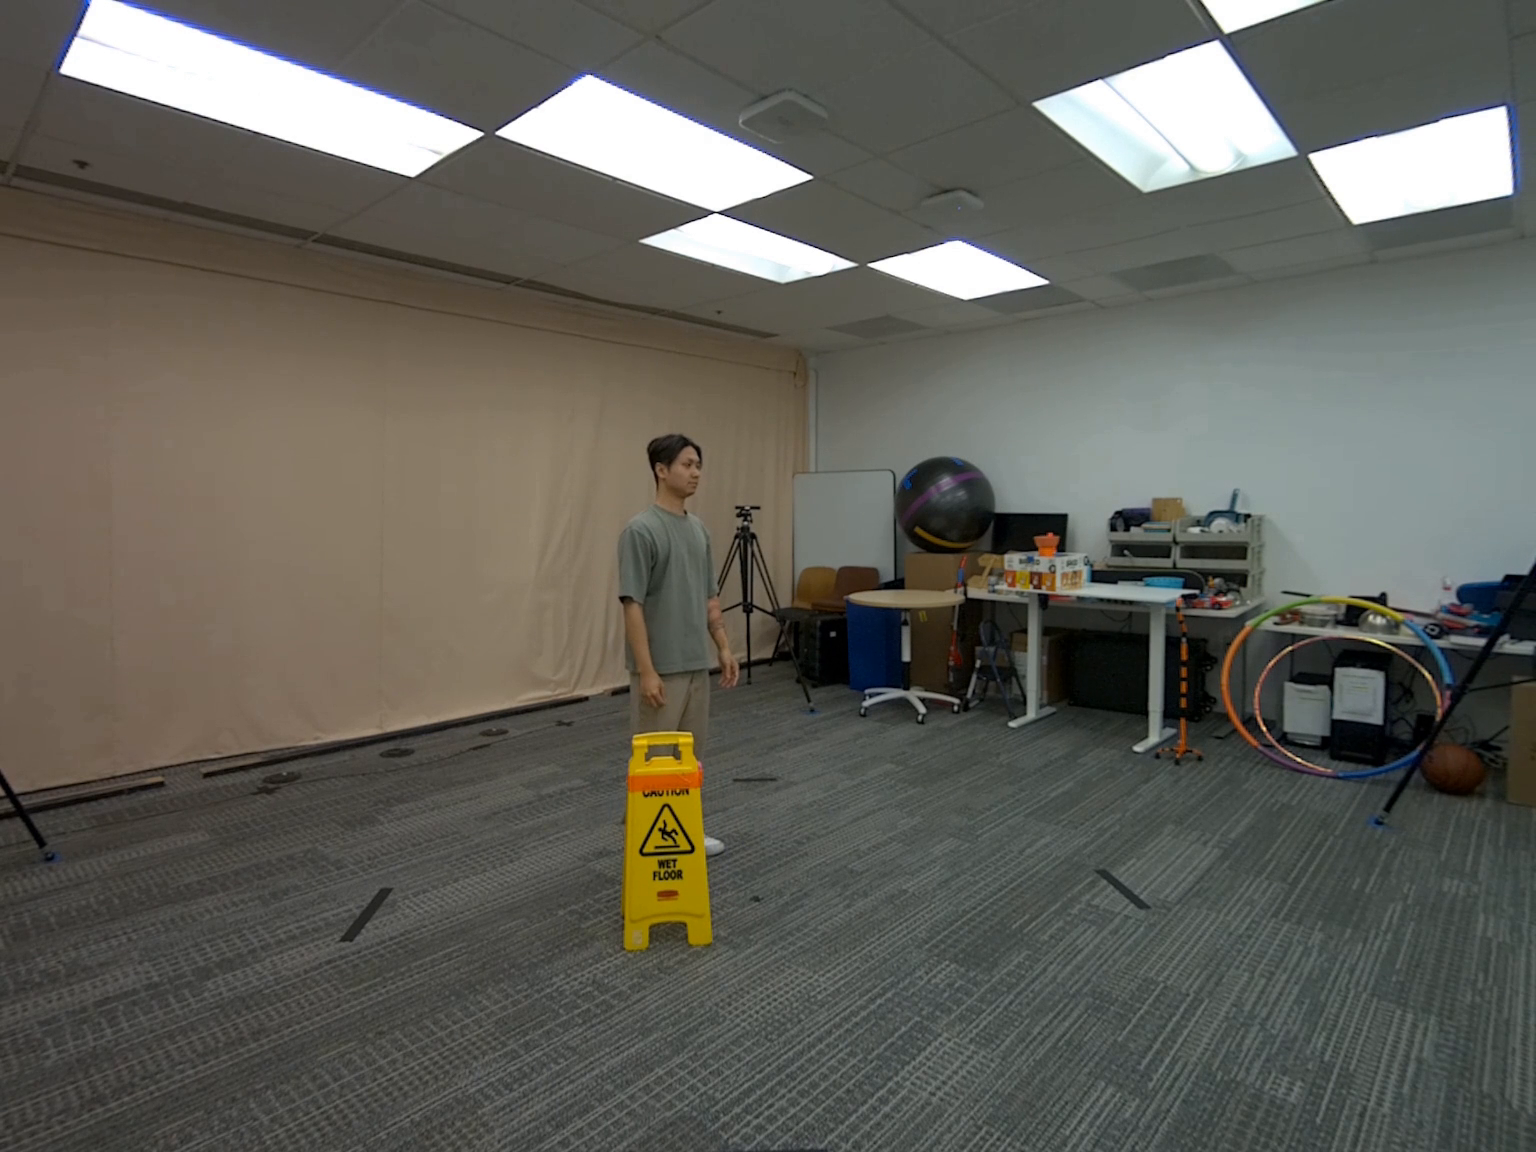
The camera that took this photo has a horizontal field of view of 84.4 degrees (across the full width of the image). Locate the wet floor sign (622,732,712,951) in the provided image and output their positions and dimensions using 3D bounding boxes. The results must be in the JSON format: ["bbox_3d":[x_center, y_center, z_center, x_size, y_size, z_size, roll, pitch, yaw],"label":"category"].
[{"bbox_3d":[-0.347,0.839,2.757,0.280,0.644,0.293,-2,5,-9],"label":"wet floor sign"}]
